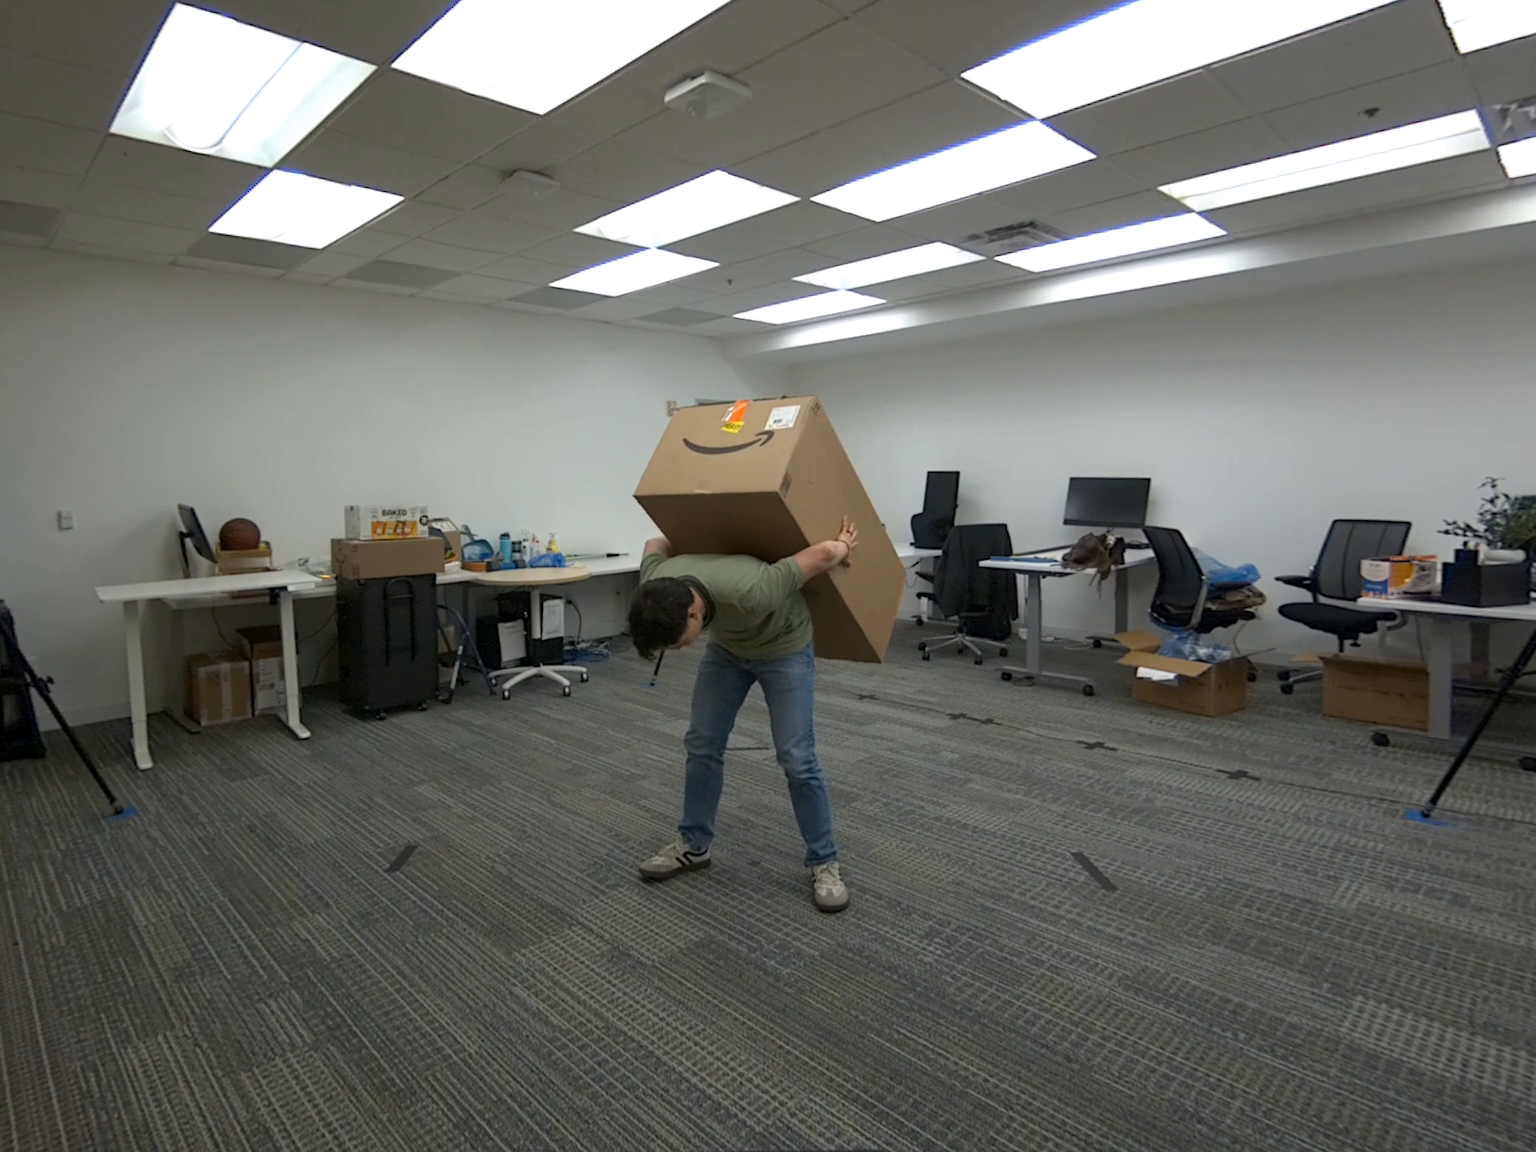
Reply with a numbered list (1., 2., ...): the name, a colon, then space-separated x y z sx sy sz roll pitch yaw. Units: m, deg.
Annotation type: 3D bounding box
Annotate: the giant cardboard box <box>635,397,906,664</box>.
1. giant cardboard box: 0.050 -0.142 3.192 0.593 0.431 0.986 2 -36 33
